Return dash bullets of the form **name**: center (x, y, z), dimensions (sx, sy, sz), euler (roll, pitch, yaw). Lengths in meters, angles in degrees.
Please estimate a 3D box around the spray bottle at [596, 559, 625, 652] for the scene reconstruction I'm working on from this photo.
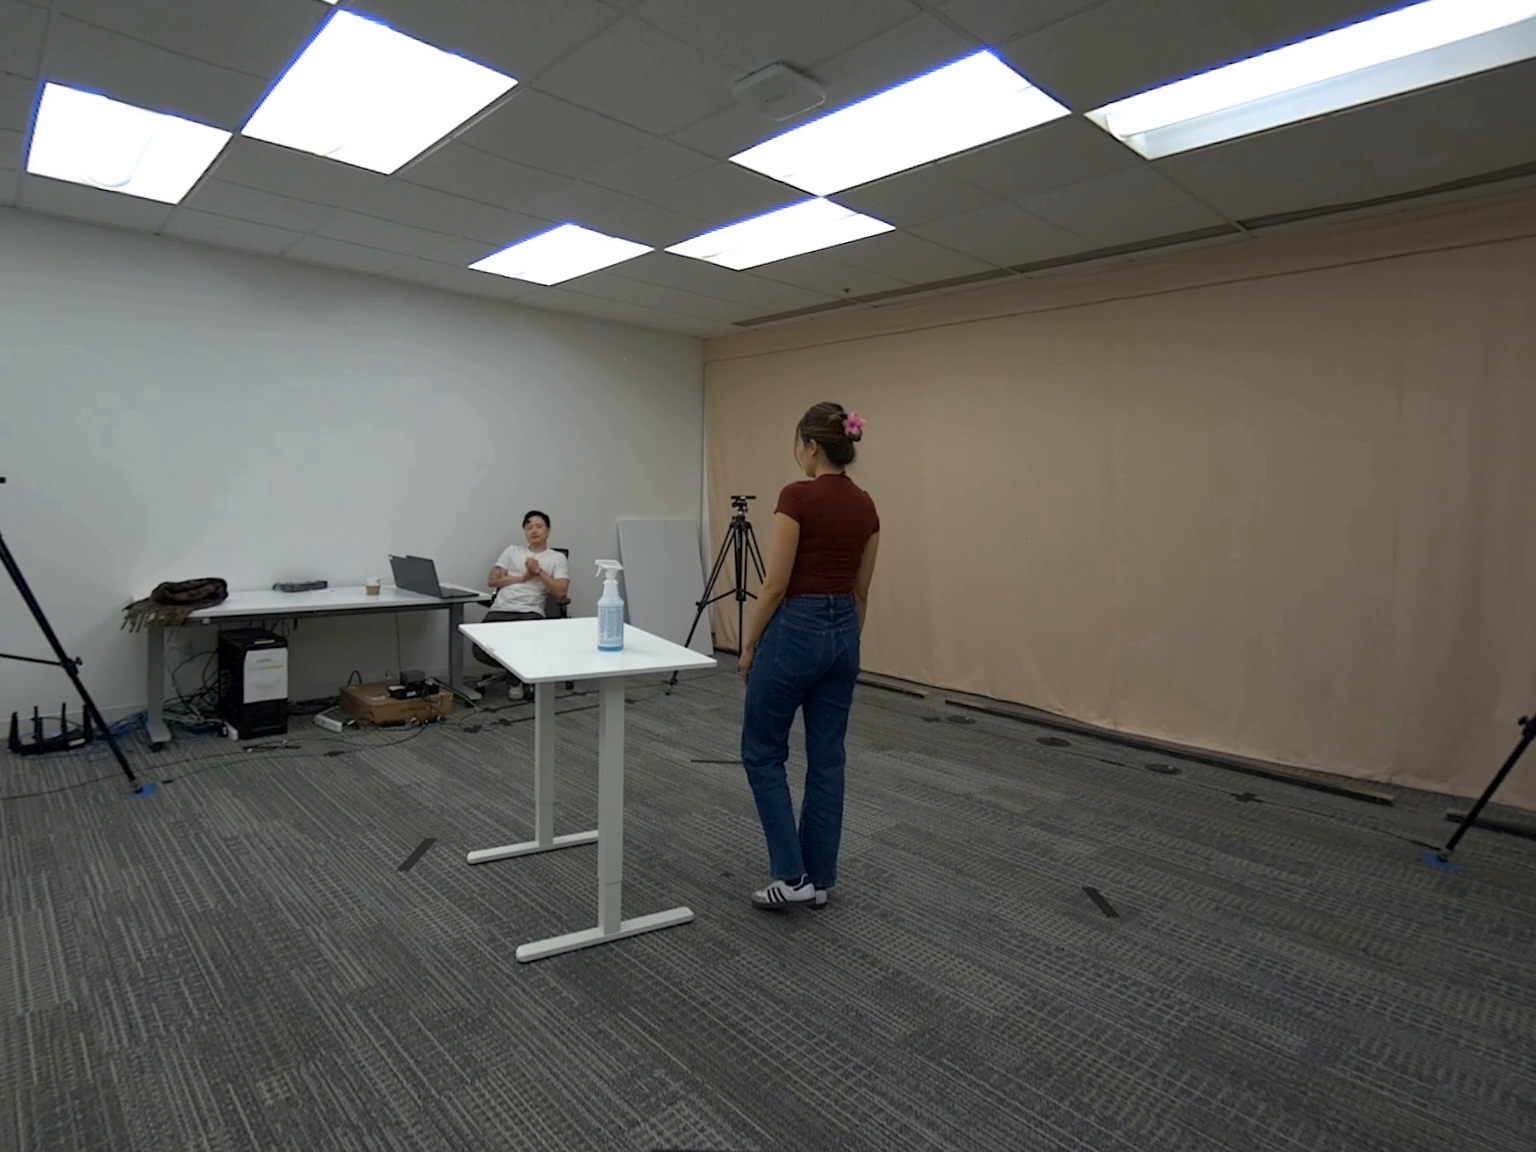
- **spray bottle**: center (-0.521, 0.098, 2.770), dimensions (0.091, 0.296, 0.086), euler (1, 4, 9)
